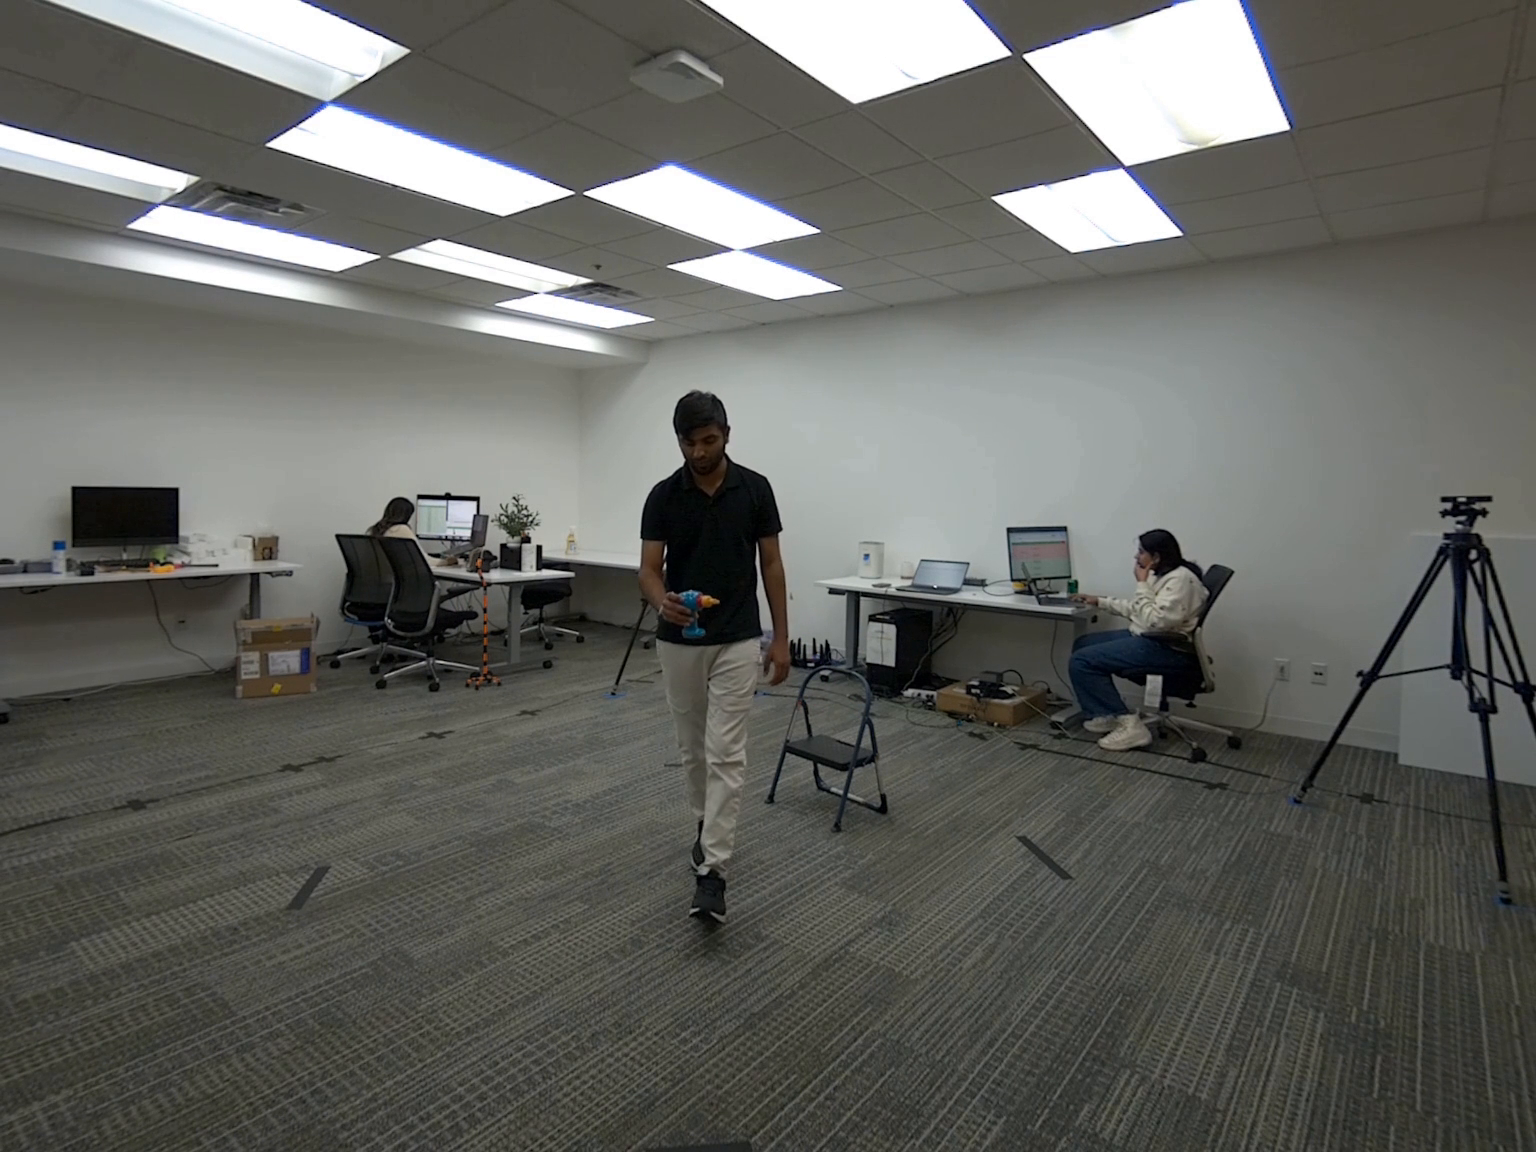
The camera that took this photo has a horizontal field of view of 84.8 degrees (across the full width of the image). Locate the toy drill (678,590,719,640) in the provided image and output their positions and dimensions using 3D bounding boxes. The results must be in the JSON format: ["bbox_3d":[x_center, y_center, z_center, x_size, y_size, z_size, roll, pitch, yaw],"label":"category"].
[{"bbox_3d":[-0.224,0.117,2.572,0.175,0.144,0.060,-1,15,39],"label":"toy drill"}]
